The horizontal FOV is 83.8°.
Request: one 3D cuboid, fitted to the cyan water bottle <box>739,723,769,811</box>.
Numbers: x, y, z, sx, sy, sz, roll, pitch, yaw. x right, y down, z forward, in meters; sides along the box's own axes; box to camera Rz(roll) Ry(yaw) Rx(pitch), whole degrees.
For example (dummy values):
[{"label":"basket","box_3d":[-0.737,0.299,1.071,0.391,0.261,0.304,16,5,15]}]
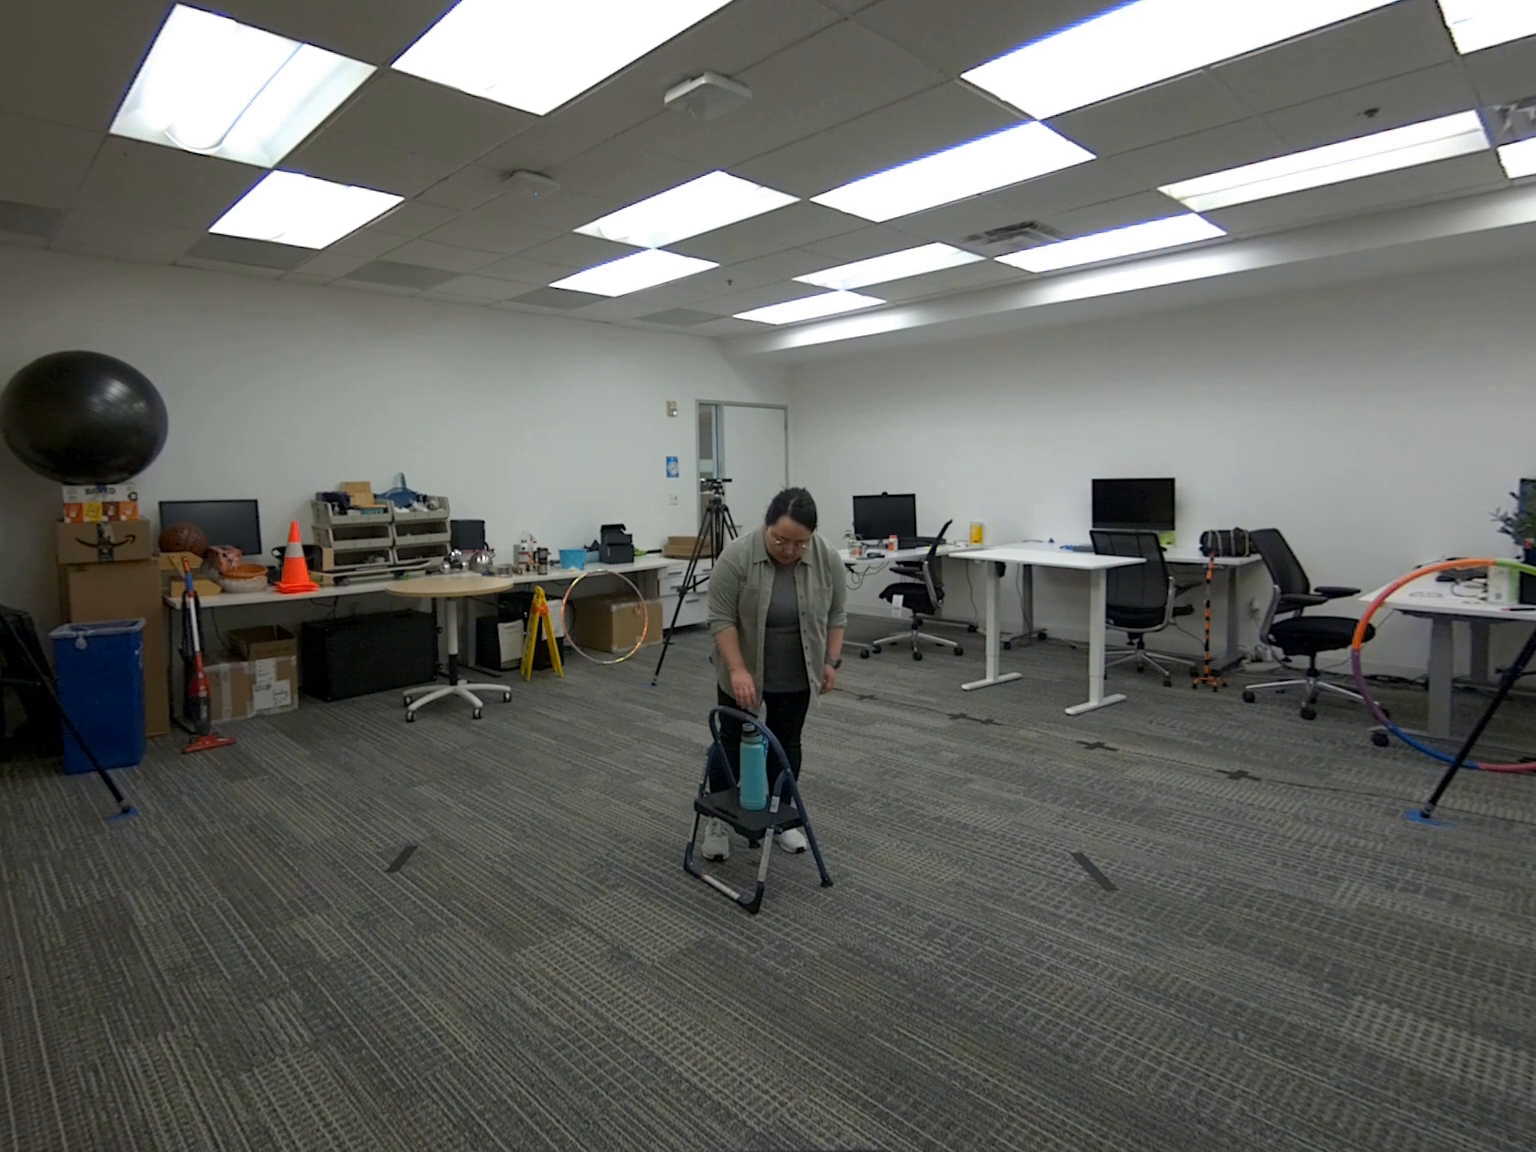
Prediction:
[{"label":"cyan water bottle","box_3d":[-0.050,0.662,2.964,0.092,0.283,0.092,1,2,-2]}]
